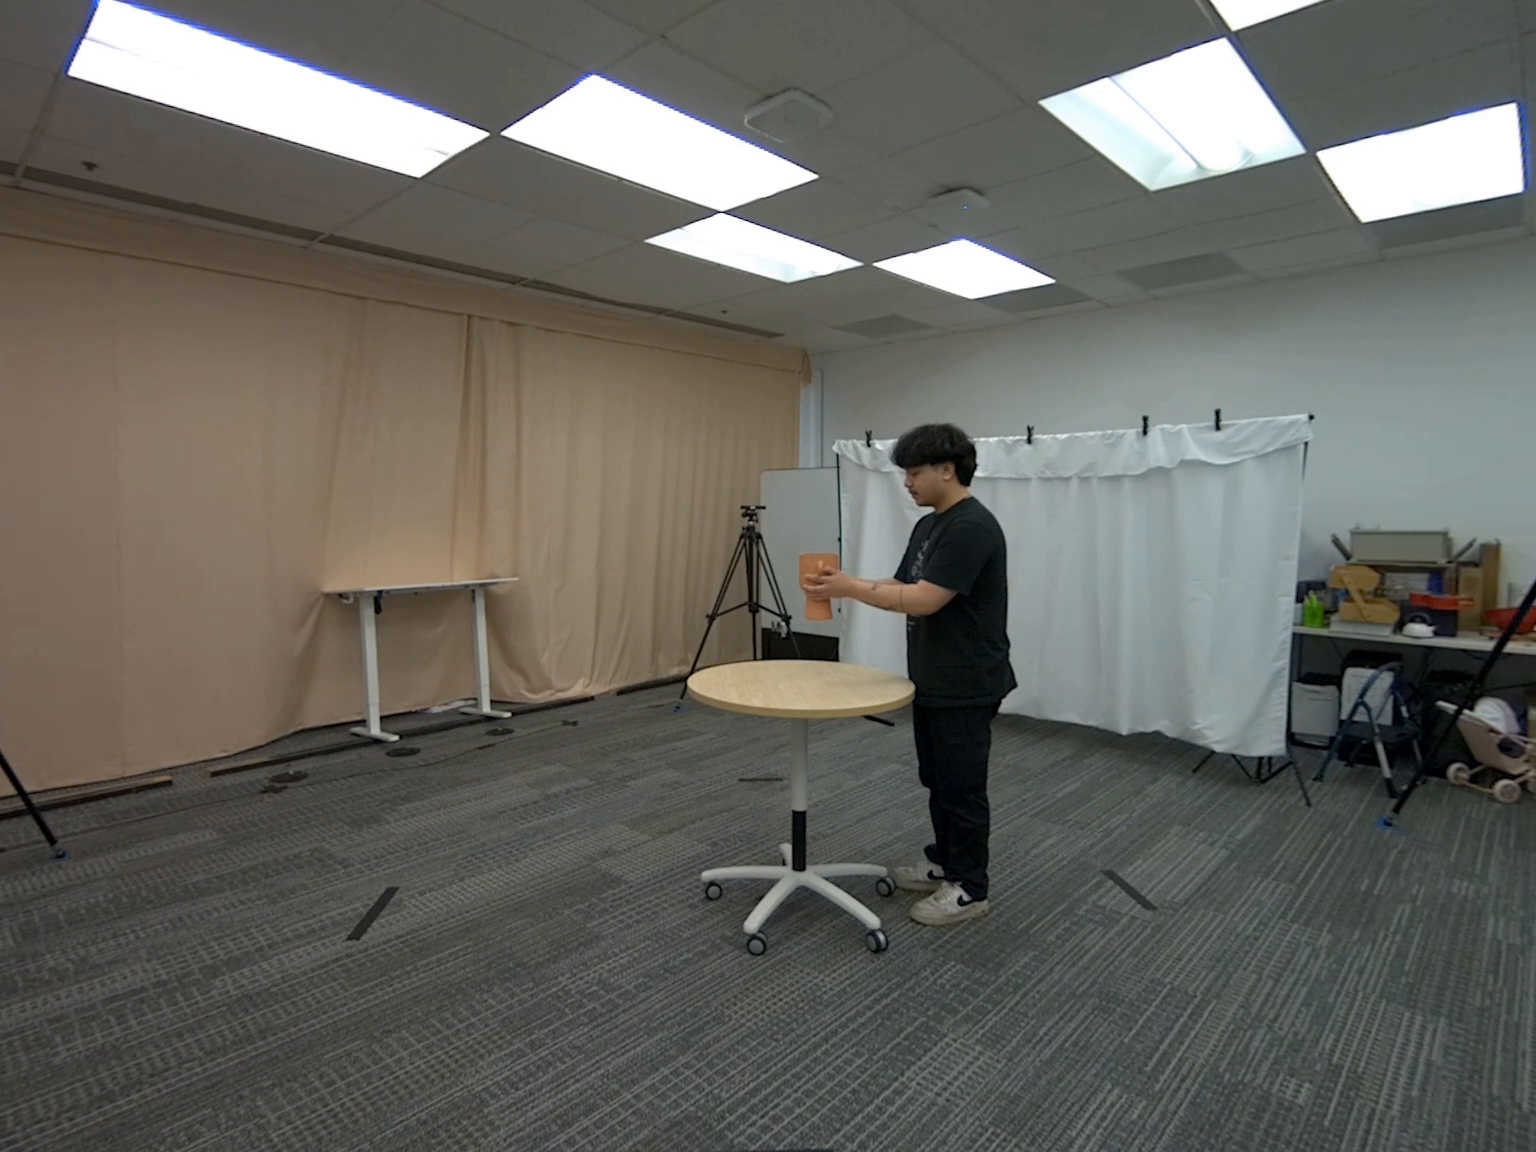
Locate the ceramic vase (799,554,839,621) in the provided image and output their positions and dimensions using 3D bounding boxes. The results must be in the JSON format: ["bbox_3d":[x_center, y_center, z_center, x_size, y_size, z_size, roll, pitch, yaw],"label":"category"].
[{"bbox_3d":[0.183,0.038,2.870,0.139,0.219,0.154,4,6,37],"label":"ceramic vase"}]
